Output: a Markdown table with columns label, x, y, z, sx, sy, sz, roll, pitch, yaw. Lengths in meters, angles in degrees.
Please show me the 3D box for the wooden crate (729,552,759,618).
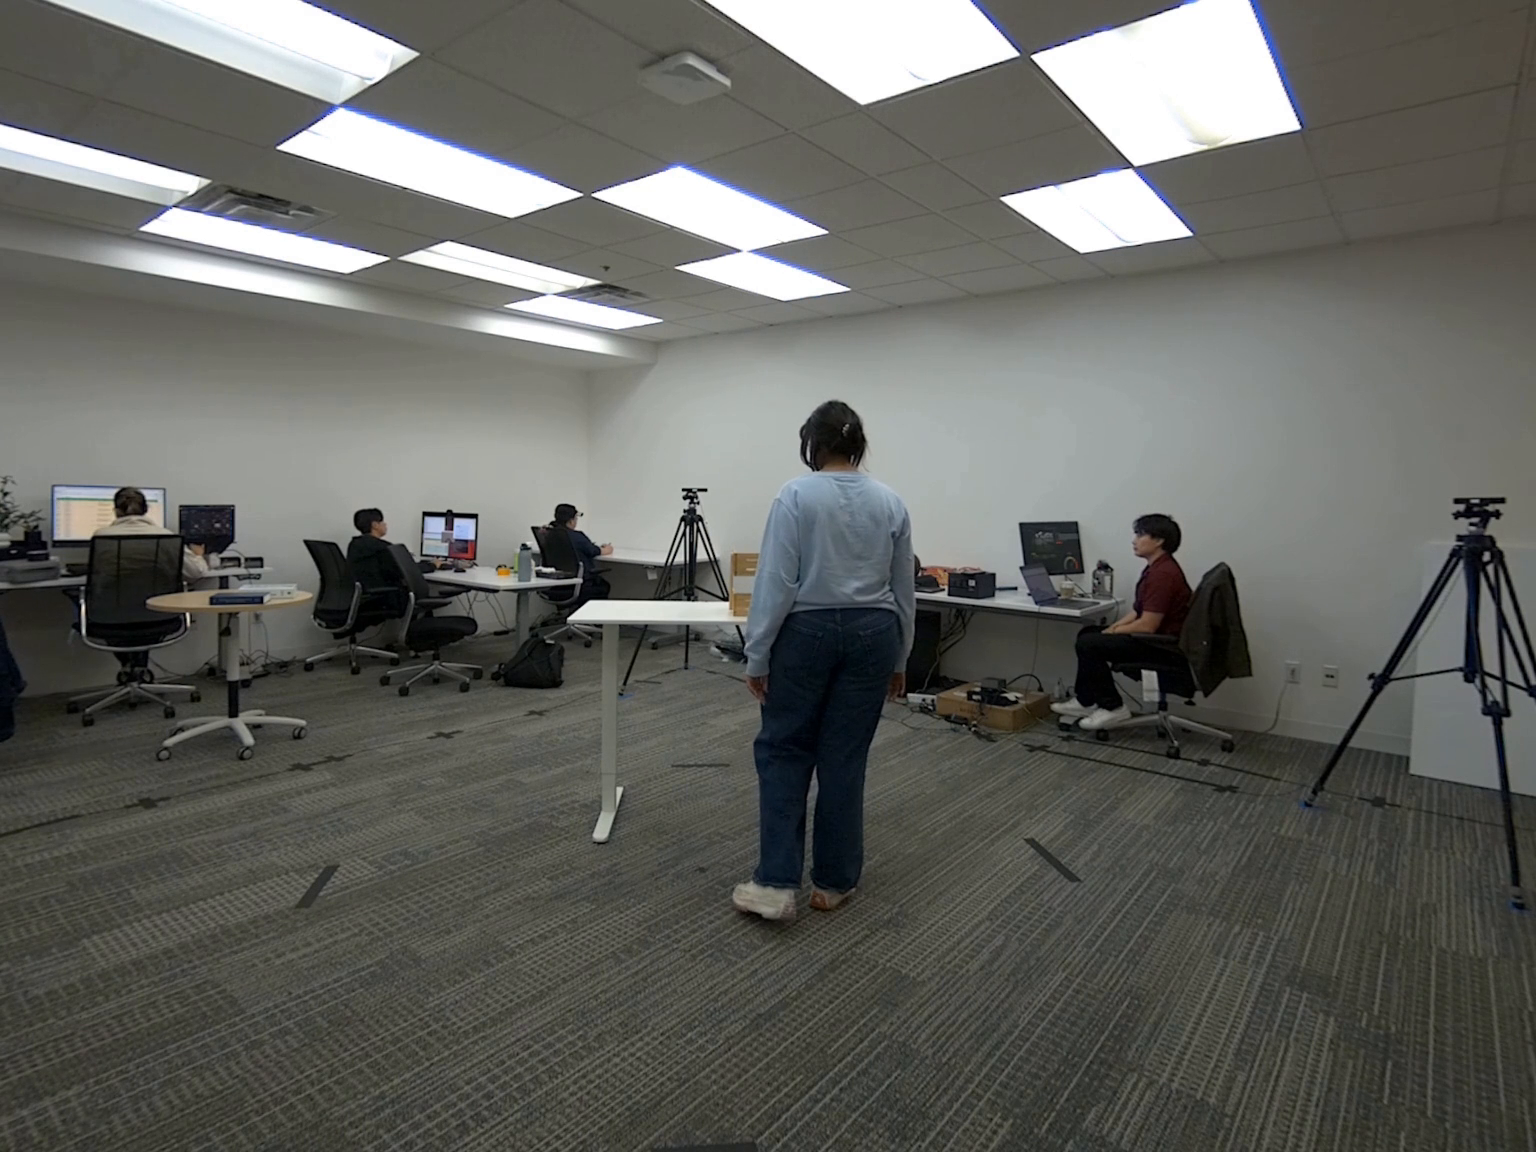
| label | x | y | z | sx | sy | sz | roll | pitch | yaw |
| --- | --- | --- | --- | --- | --- | --- | --- | --- | --- |
| wooden crate | -0.007 | 0.017 | 3.499 | 0.324 | 0.272 | 0.304 | 0 | 5 | -3 |
